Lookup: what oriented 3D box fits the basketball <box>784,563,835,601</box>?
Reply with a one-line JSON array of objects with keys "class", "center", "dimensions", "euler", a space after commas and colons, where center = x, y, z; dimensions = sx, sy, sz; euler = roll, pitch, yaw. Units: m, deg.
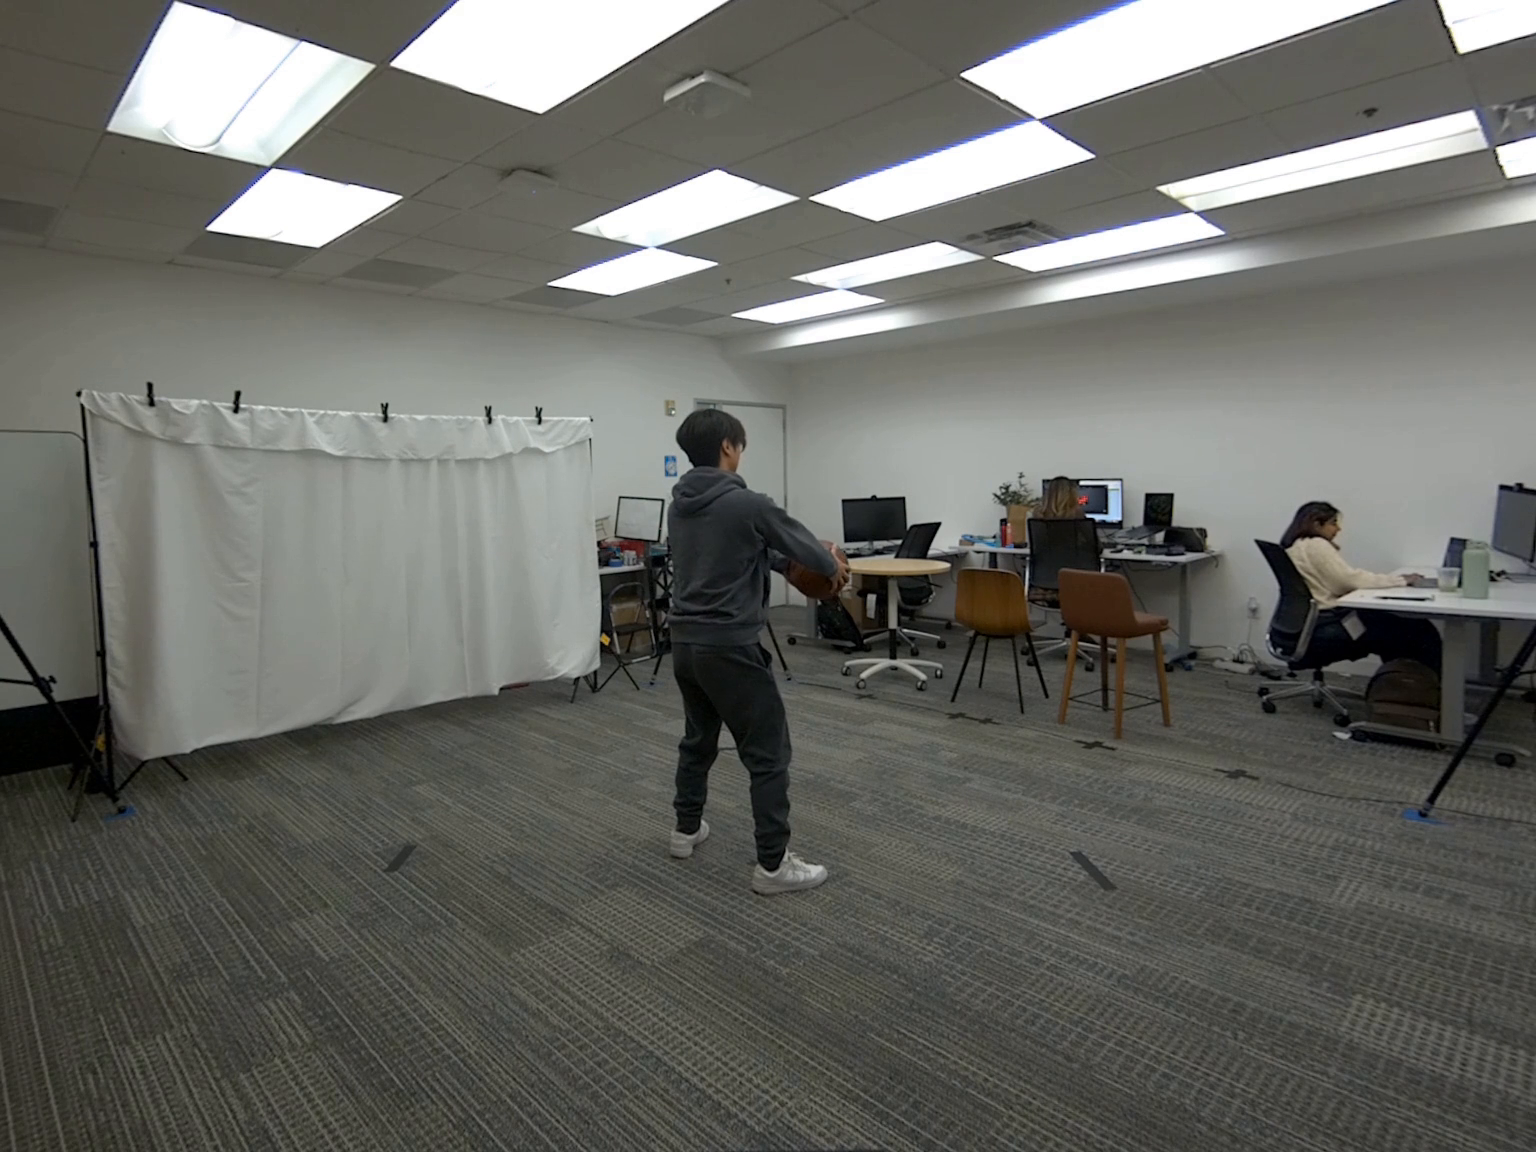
[{"class": "basketball", "center": [0.209, -0.016, 3.409], "dimensions": [0.236, 0.235, 0.237], "euler": [-1, 5, -2]}]
